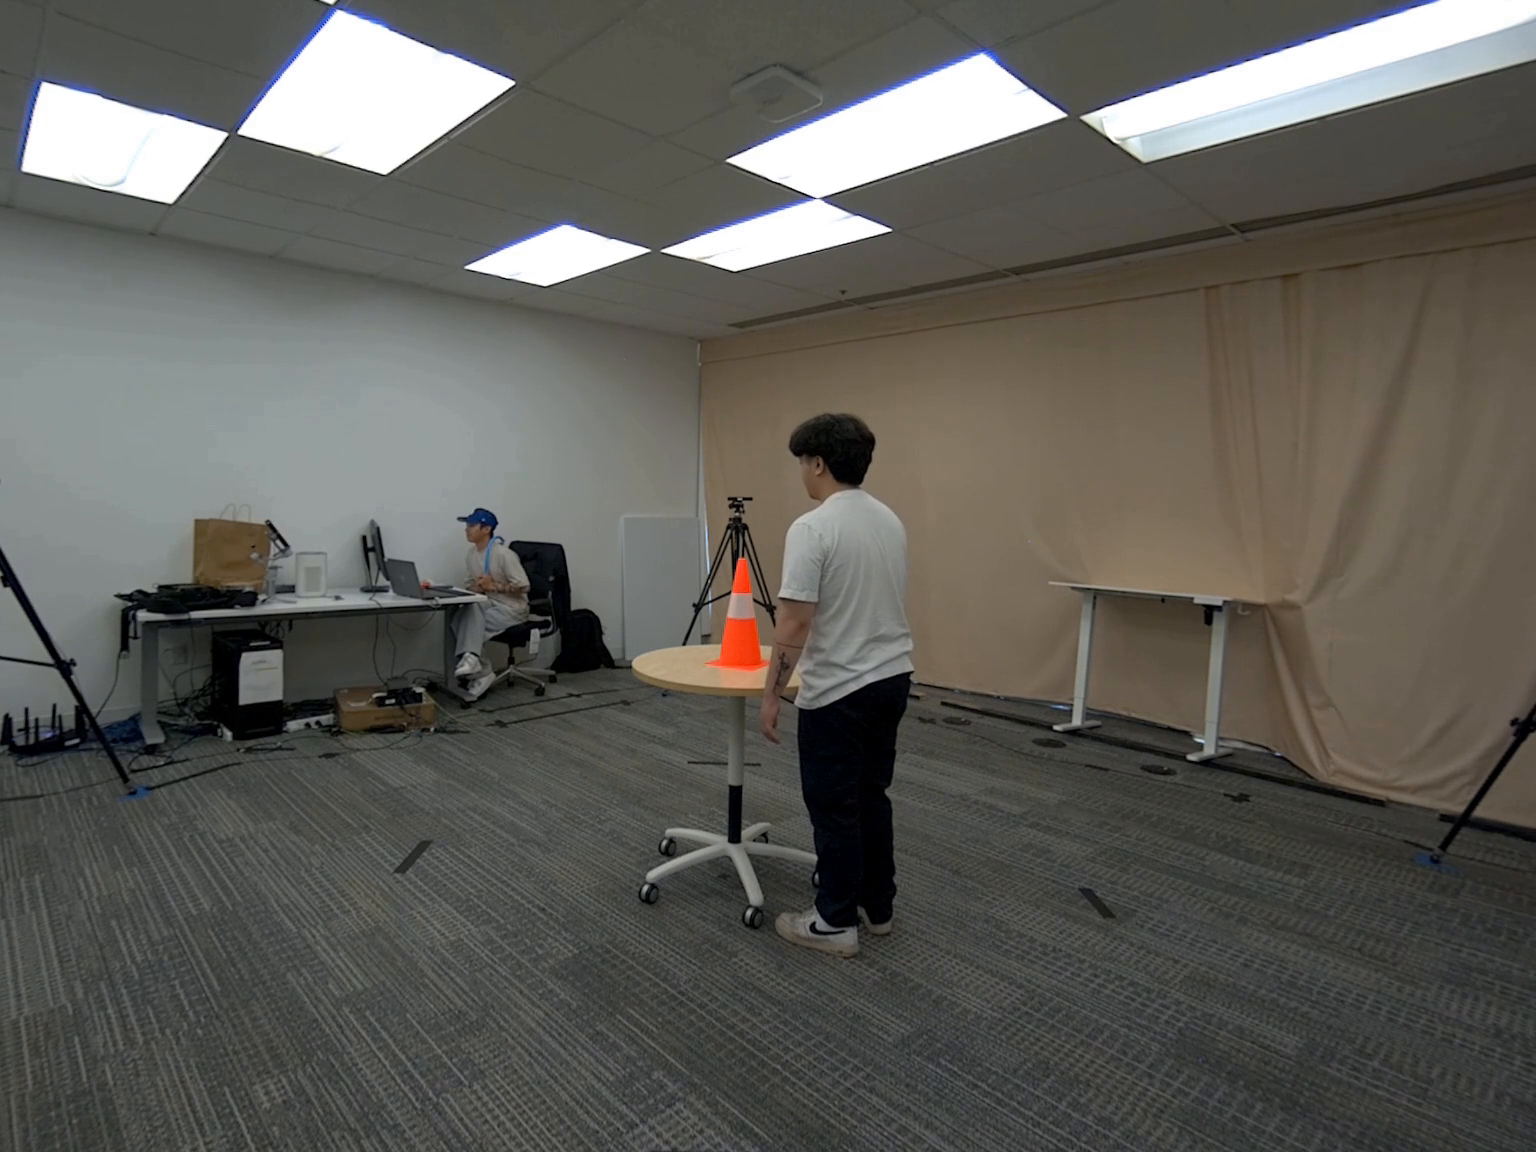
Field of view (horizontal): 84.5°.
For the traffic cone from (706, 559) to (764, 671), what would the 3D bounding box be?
[{"bbox_3d":[-0.098,0.131,3.040,0.208,0.383,0.201,4,4,29],"label":"traffic cone"}]
